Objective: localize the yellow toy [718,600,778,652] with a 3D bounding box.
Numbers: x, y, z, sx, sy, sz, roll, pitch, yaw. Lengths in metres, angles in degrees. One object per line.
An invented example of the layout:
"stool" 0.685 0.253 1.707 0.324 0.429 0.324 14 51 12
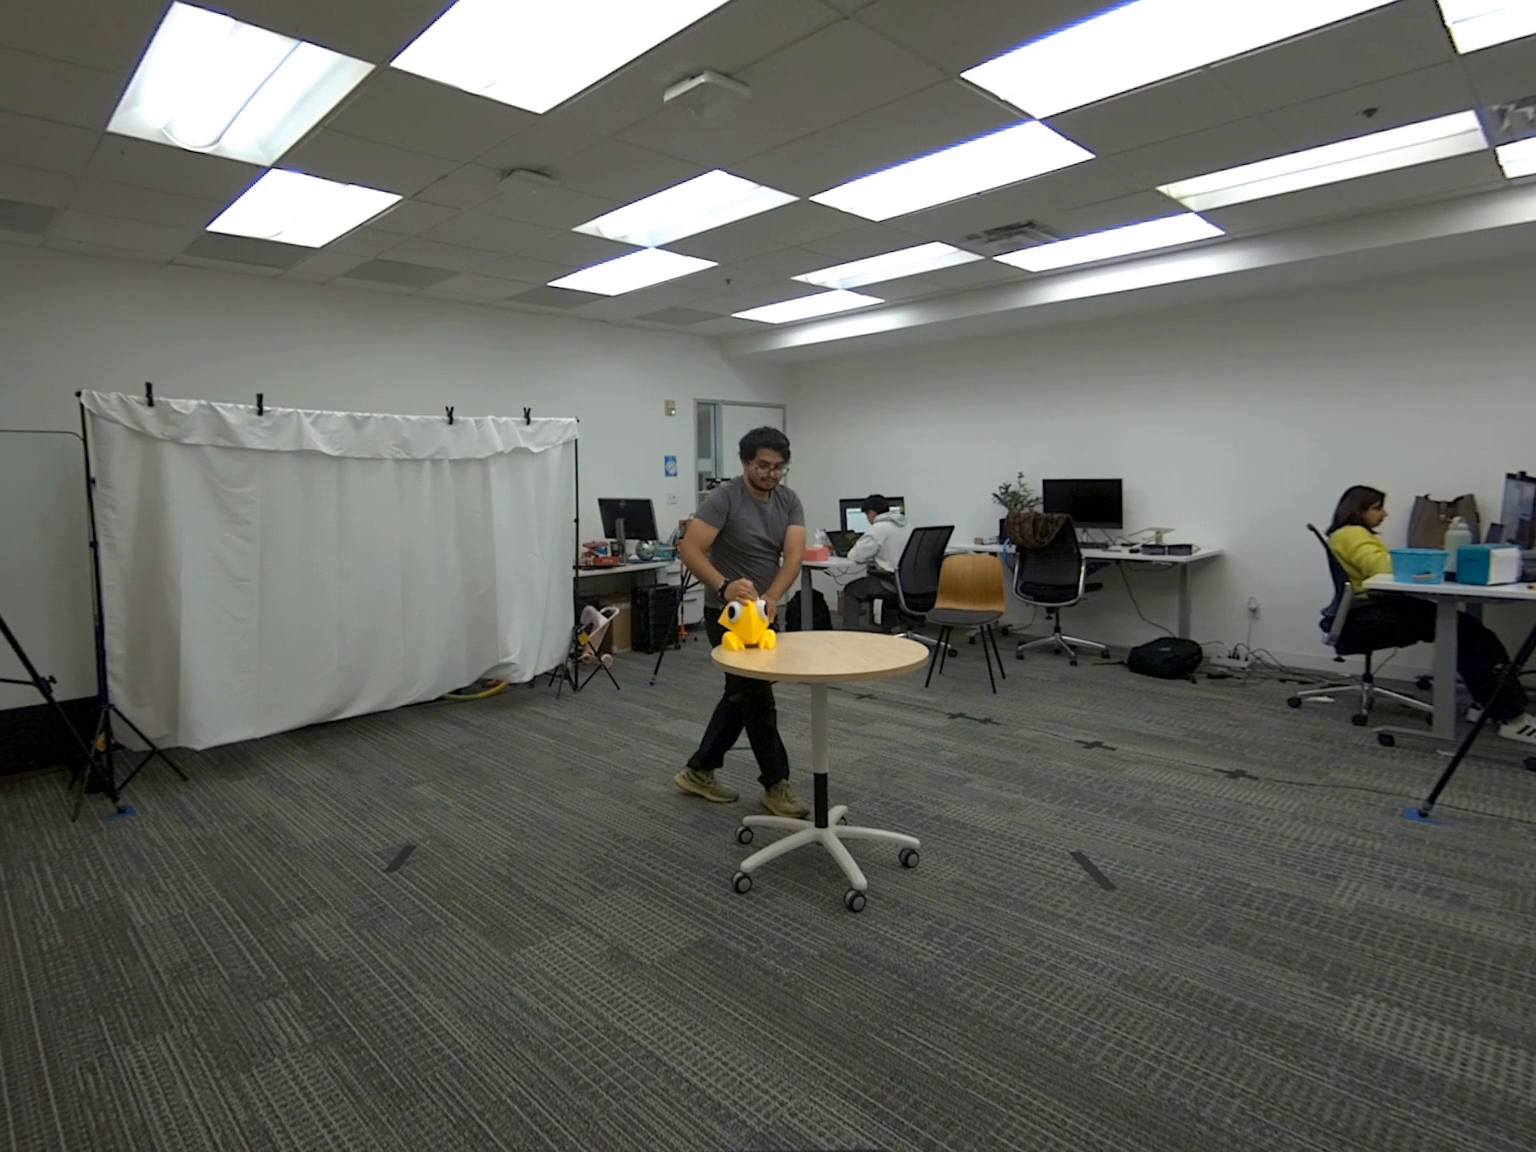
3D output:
"yellow toy" -0.071 0.145 3.162 0.203 0.230 0.195 -3 5 -9
